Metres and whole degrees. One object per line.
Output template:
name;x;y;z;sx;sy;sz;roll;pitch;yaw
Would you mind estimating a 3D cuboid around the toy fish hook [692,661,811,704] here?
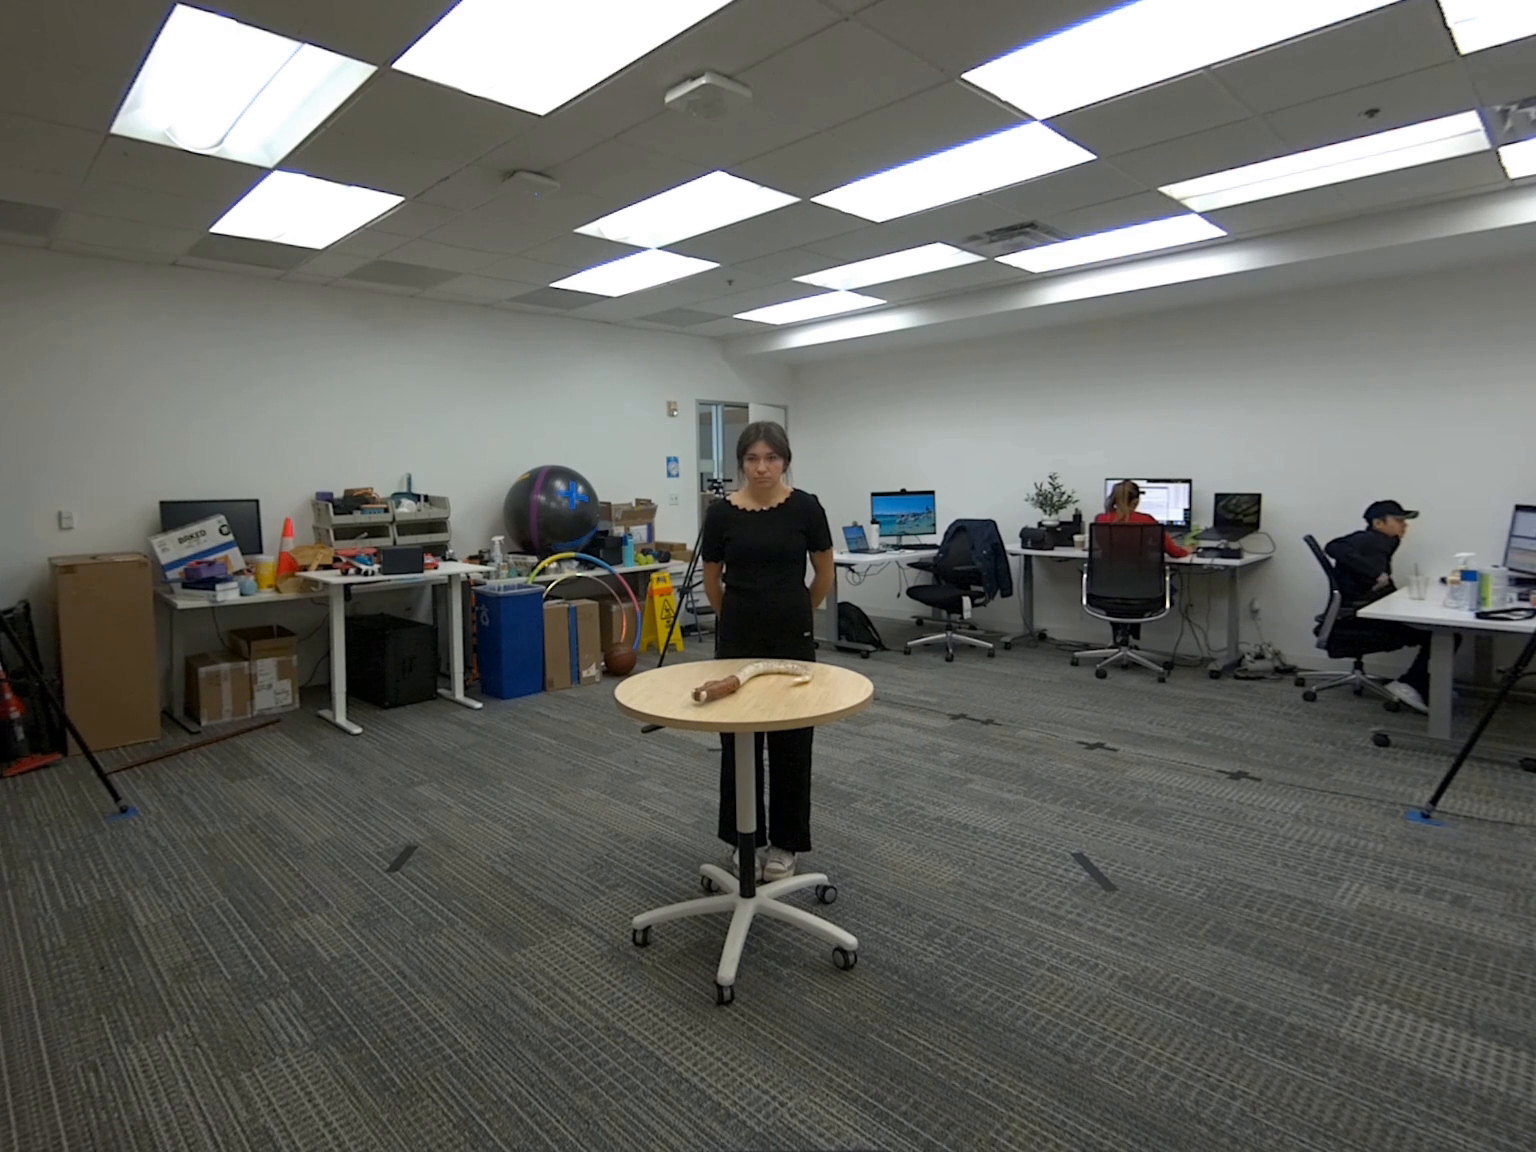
toy fish hook;-0.025;0.314;2.501;0.230;0.048;0.495;-2;4;29
